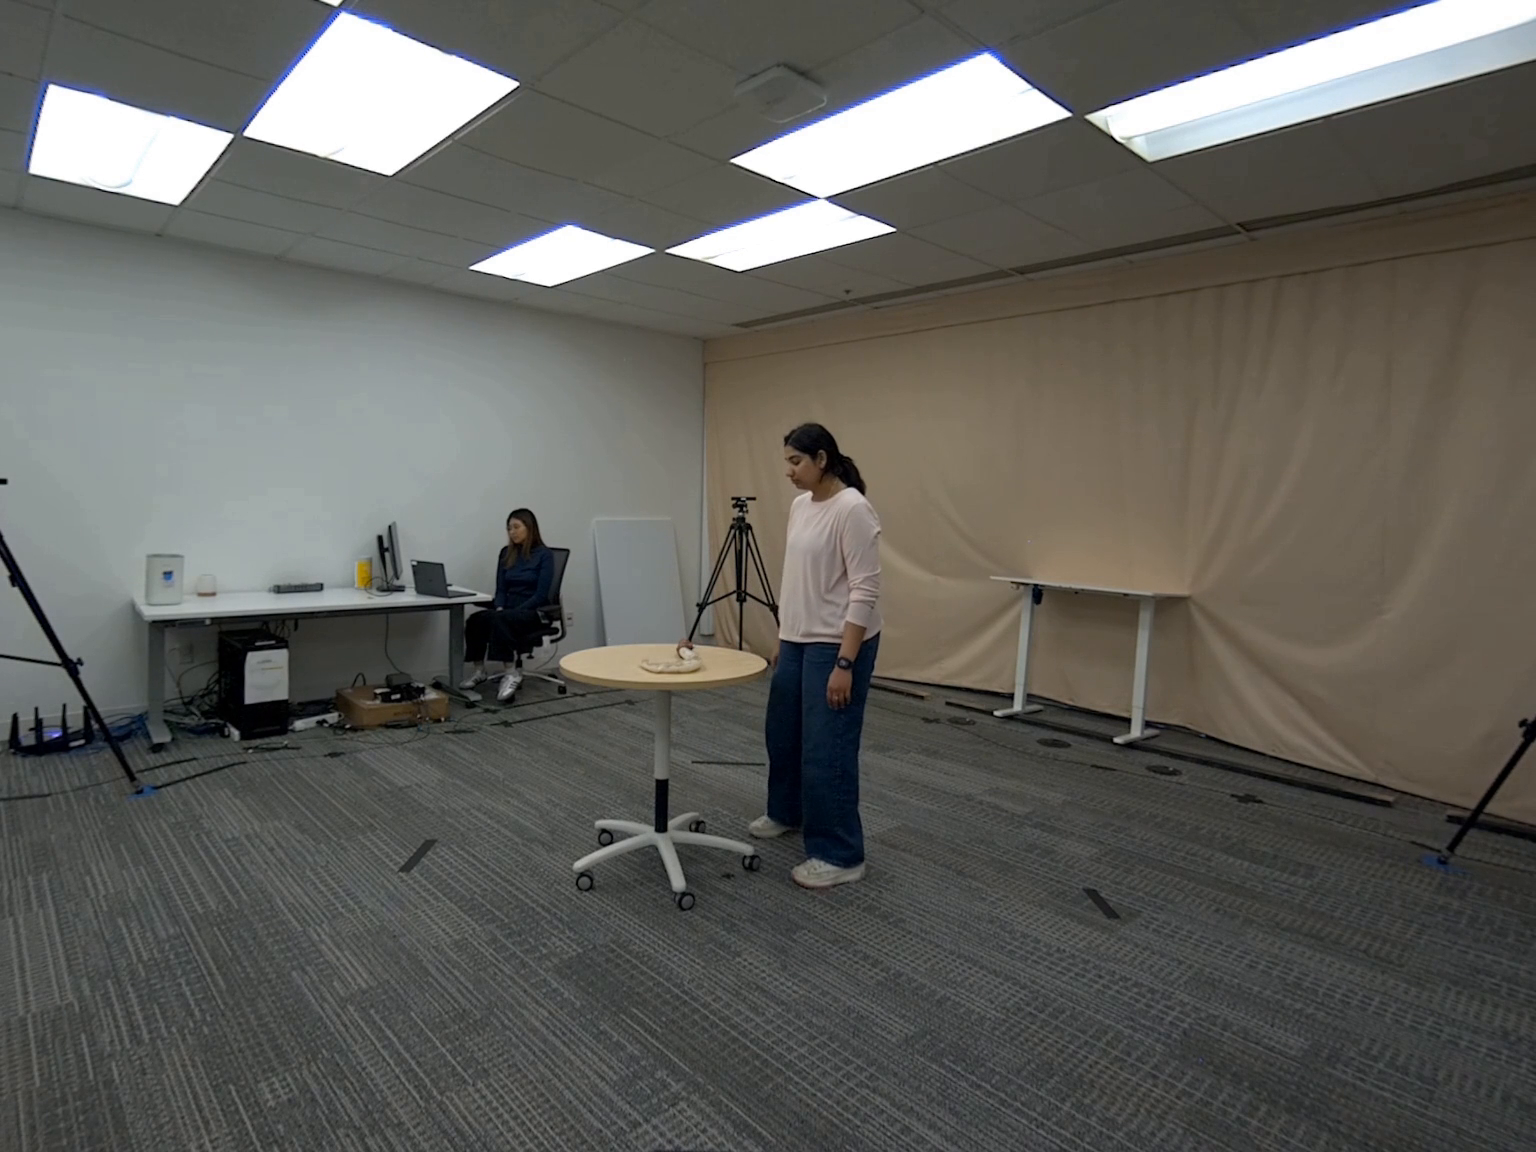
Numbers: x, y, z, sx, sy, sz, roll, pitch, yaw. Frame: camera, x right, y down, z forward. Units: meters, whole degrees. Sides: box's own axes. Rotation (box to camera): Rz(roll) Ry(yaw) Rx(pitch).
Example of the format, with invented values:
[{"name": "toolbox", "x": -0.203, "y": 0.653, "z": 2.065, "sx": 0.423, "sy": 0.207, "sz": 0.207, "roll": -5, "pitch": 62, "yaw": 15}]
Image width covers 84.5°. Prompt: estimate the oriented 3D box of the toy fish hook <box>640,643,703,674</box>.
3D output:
[{"name": "toy fish hook", "x": -0.360, "y": 0.294, "z": 3.136, "sx": 0.224, "sy": 0.048, "sz": 0.510, "roll": 2, "pitch": 5, "yaw": -5}]
